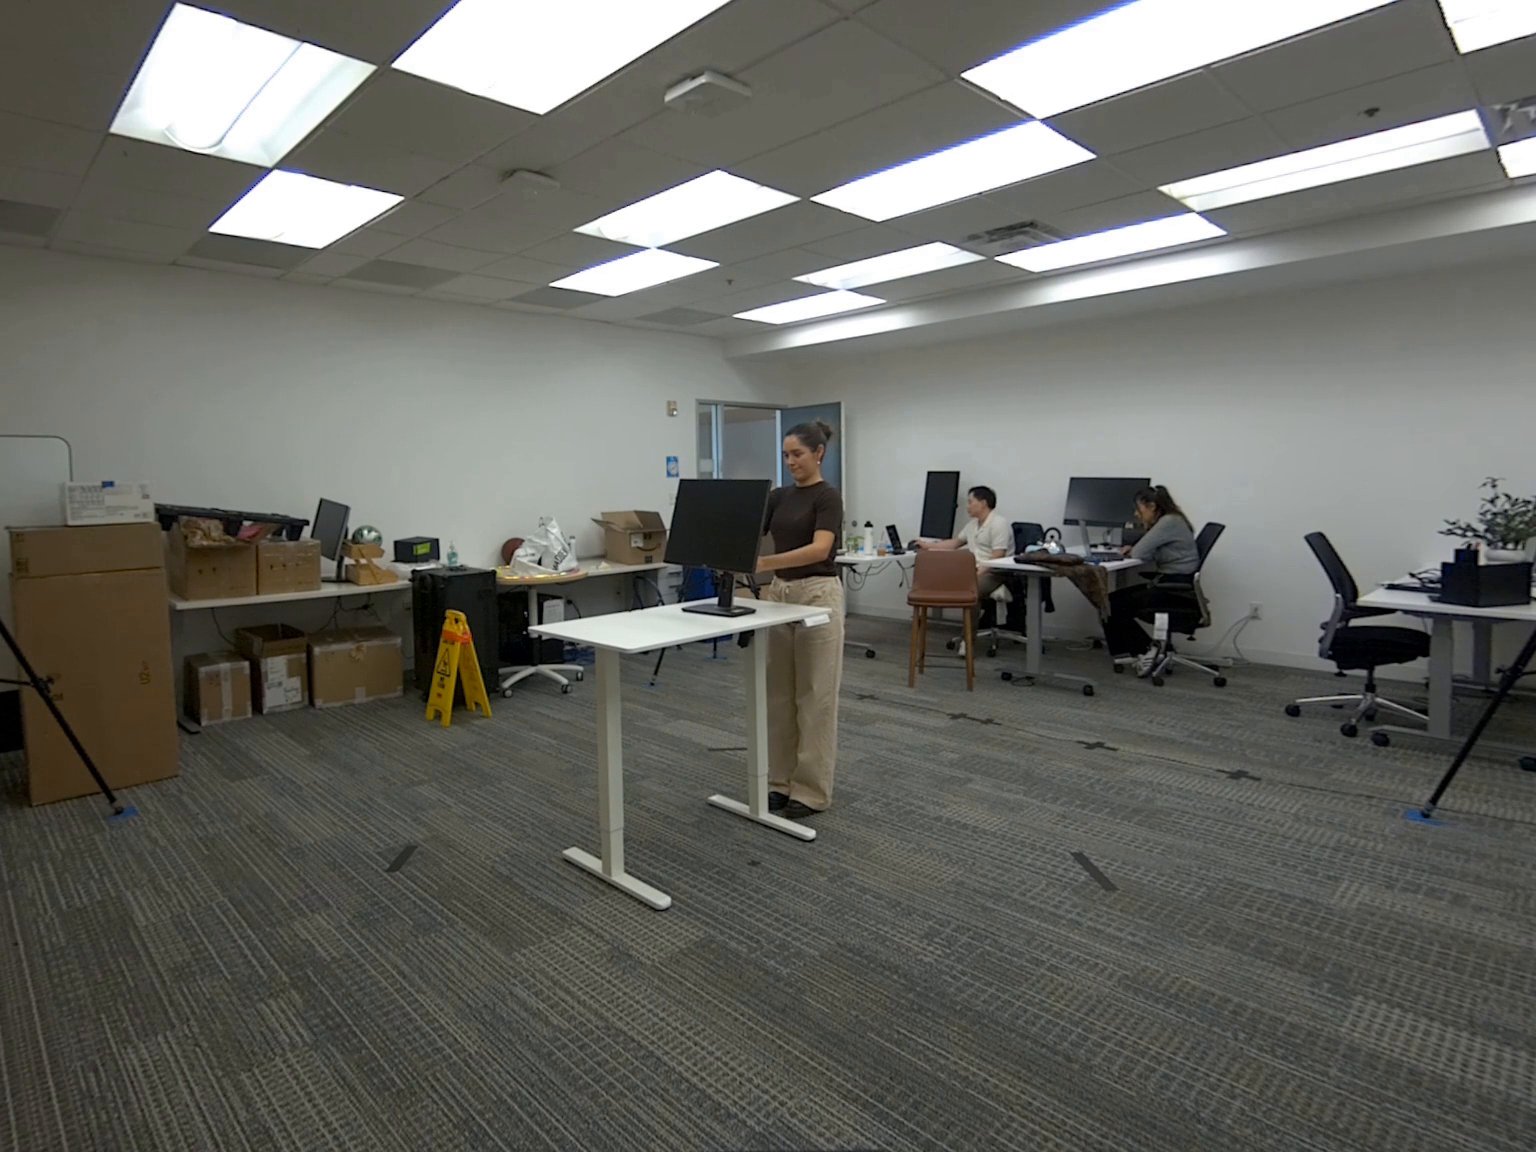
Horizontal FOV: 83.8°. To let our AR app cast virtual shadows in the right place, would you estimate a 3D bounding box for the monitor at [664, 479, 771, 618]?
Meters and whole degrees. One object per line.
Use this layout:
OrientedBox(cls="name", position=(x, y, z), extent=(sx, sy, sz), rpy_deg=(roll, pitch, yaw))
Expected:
OrientedBox(cls="monitor", position=(-0.190, -0.112, 3.308), extent=(0.182, 0.521, 0.556), rpy_deg=(-2, 5, -44))
